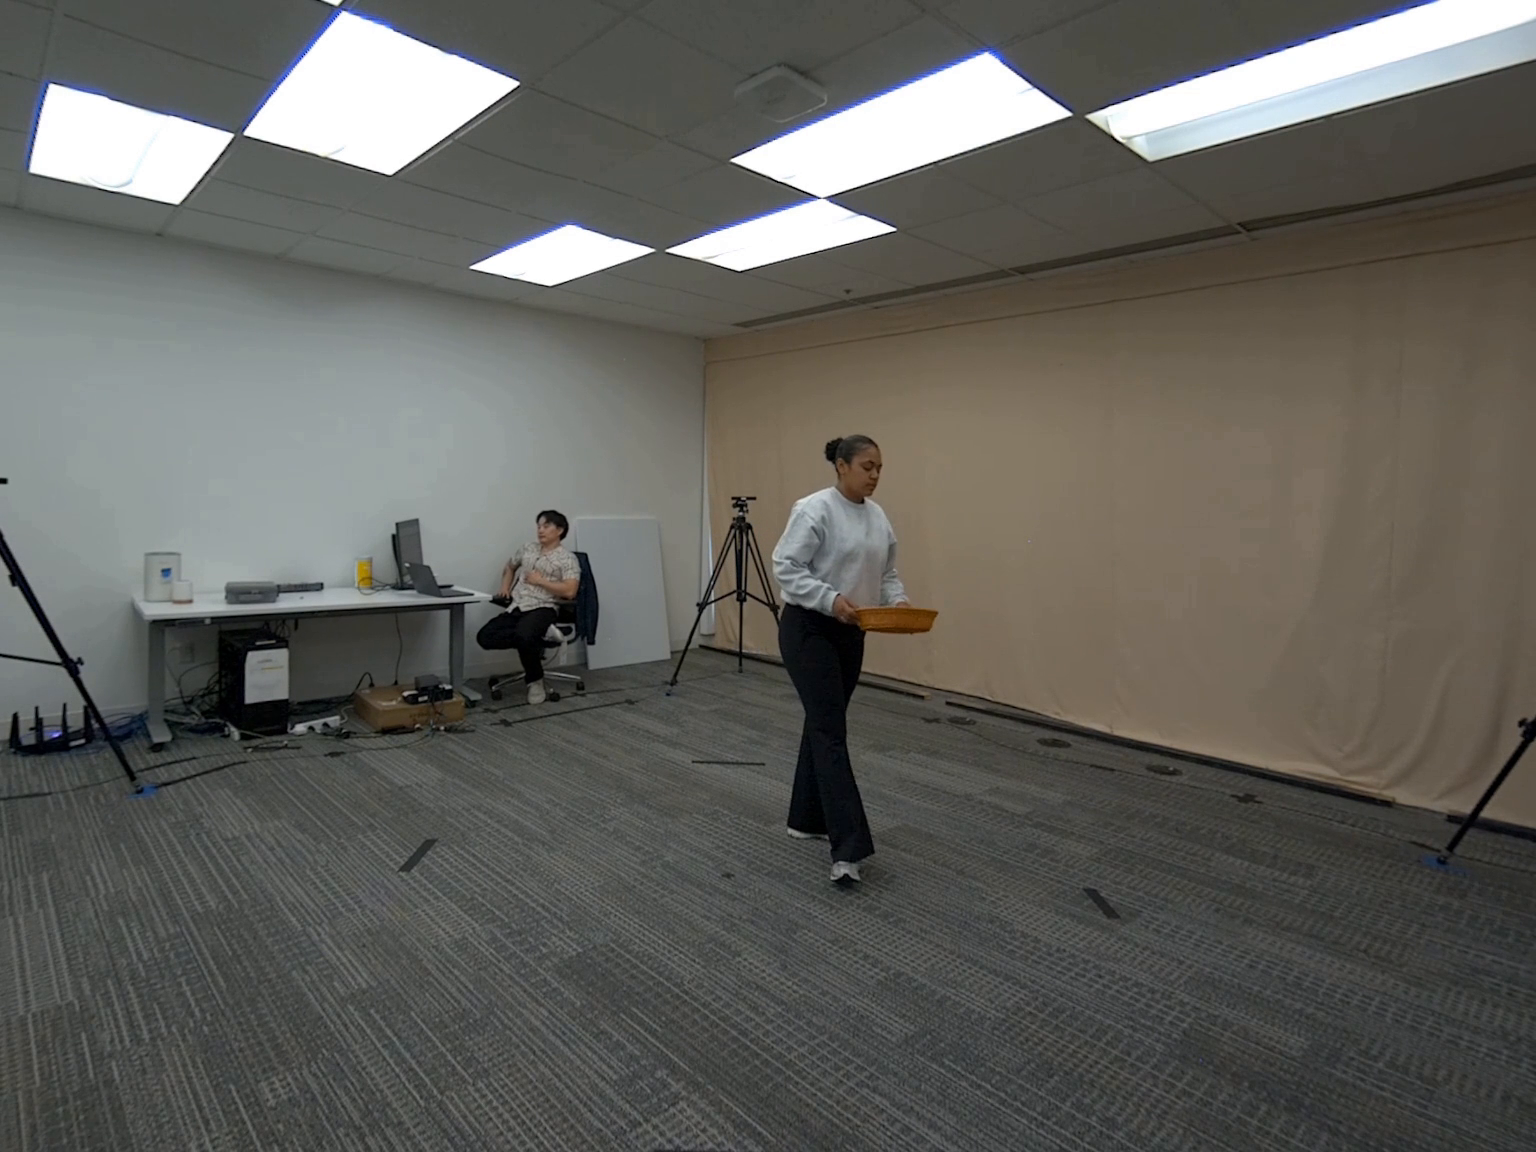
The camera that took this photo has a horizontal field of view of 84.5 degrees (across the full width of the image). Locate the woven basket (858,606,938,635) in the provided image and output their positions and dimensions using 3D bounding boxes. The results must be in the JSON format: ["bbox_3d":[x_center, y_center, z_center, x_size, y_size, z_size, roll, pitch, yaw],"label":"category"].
[{"bbox_3d":[0.445,0.165,3.084,0.341,0.074,0.257,6,-12,-38],"label":"woven basket"}]
